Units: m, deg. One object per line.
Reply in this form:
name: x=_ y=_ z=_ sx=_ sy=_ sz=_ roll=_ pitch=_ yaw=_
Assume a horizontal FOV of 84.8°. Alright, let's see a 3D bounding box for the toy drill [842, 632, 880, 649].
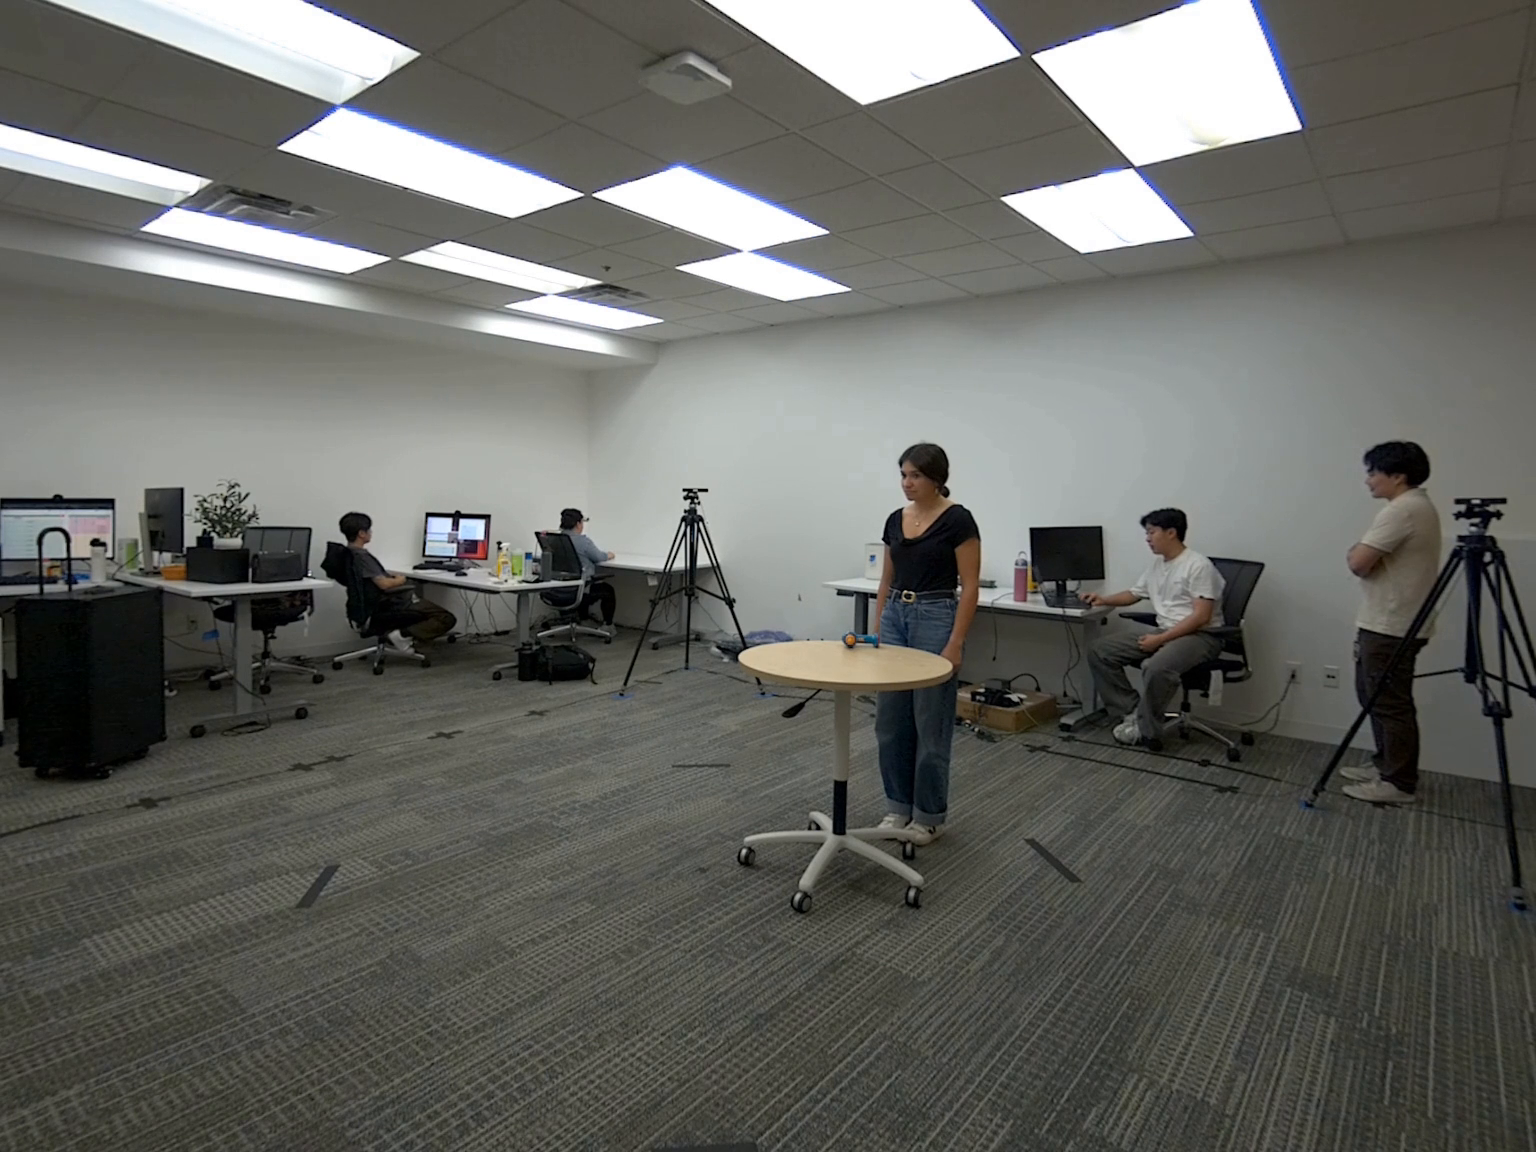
toy drill: x=0.363 y=0.239 z=3.328 sx=0.147 sy=0.061 sz=0.168 roll=3 pitch=-2 yaw=6
